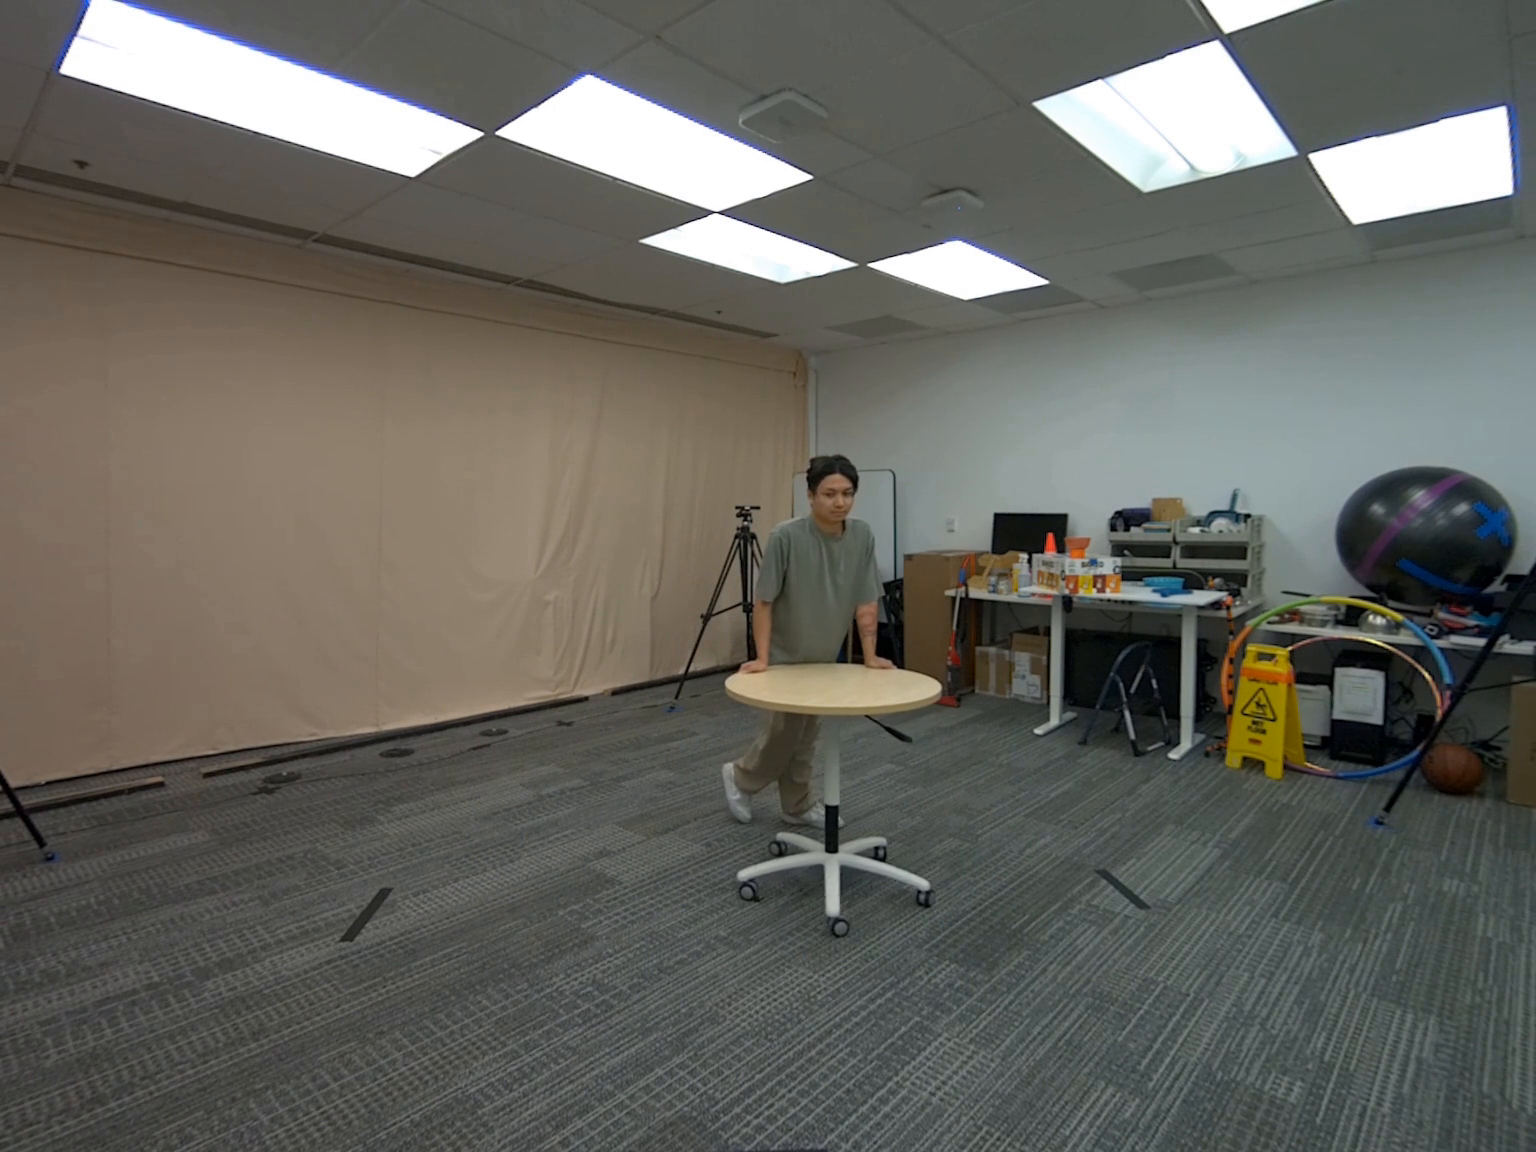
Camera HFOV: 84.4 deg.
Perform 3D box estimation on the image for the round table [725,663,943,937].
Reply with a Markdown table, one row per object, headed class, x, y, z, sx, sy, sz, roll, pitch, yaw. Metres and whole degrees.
| class | x | y | z | sx | sy | sz | roll | pitch | yaw |
| --- | --- | --- | --- | --- | --- | --- | --- | --- | --- |
| round table | 0.218 | 0.756 | 3.045 | 0.784 | 0.785 | 0.787 | 0 | 3 | -2 |
